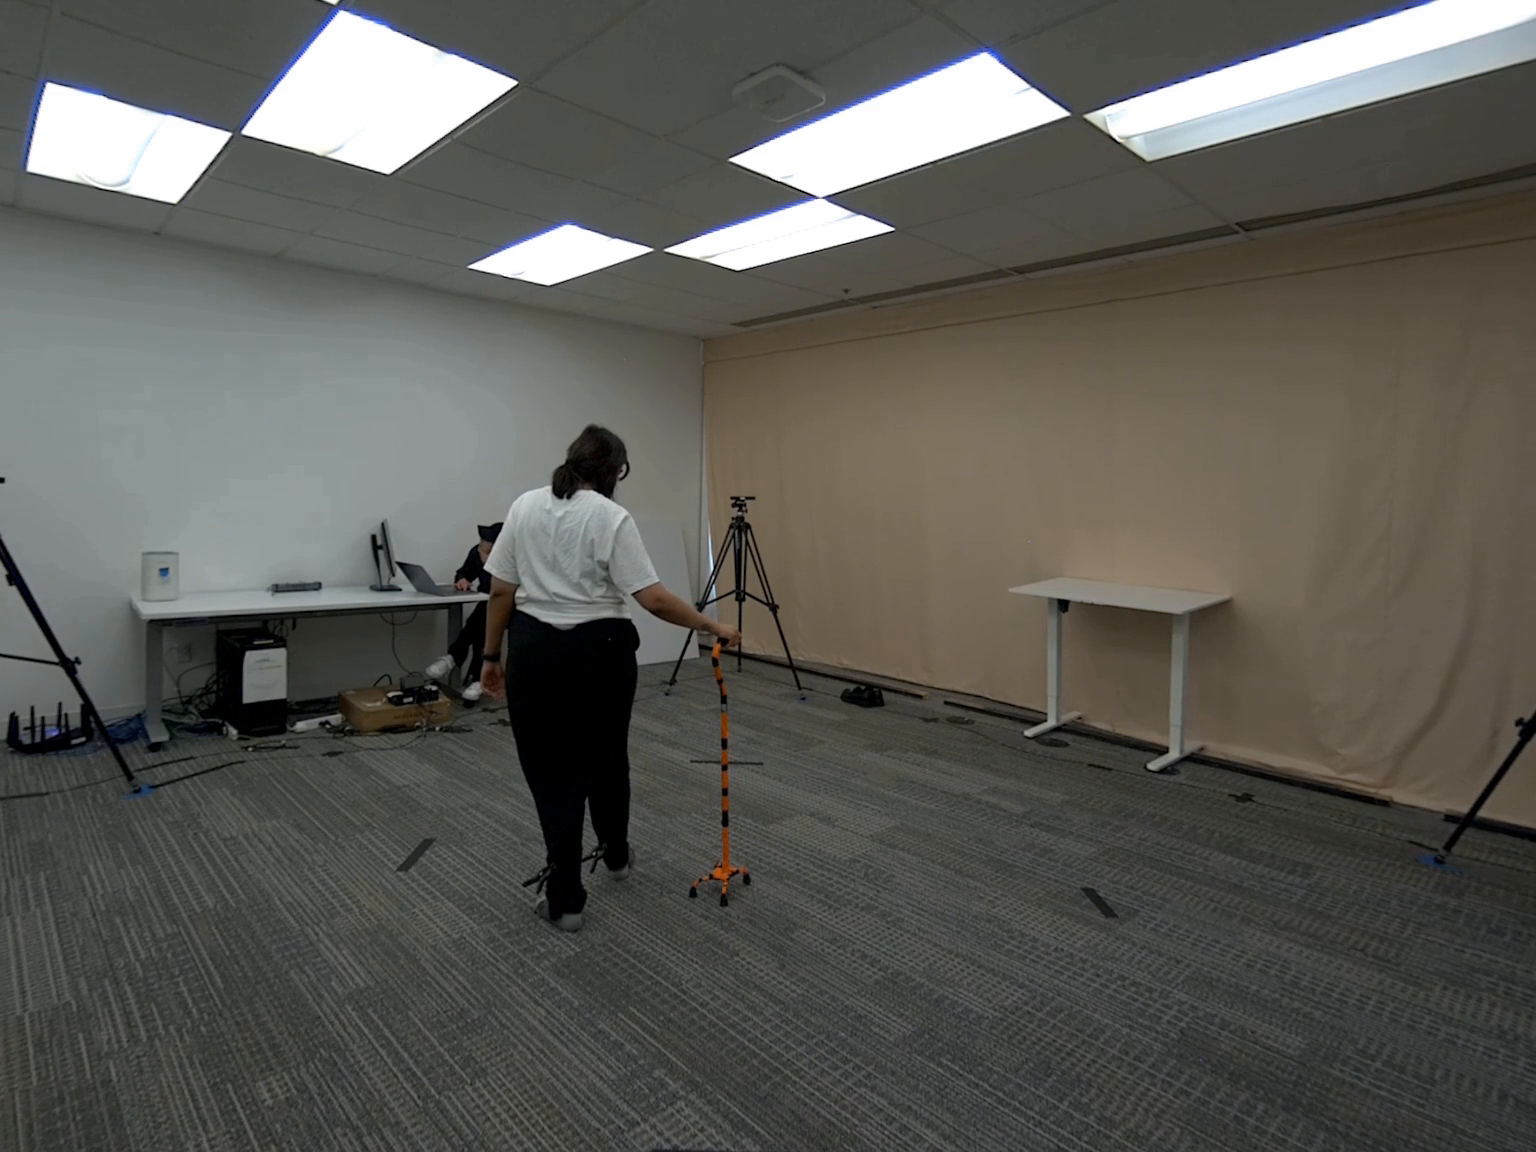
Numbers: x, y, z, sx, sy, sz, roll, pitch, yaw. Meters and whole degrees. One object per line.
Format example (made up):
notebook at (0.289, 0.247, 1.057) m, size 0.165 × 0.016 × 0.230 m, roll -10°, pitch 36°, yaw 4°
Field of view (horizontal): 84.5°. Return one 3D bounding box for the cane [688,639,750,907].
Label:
cane at (-0.171, 0.662, 2.941) m, size 0.154 × 0.905 × 0.203 m, roll 2°, pitch 5°, yaw 23°
